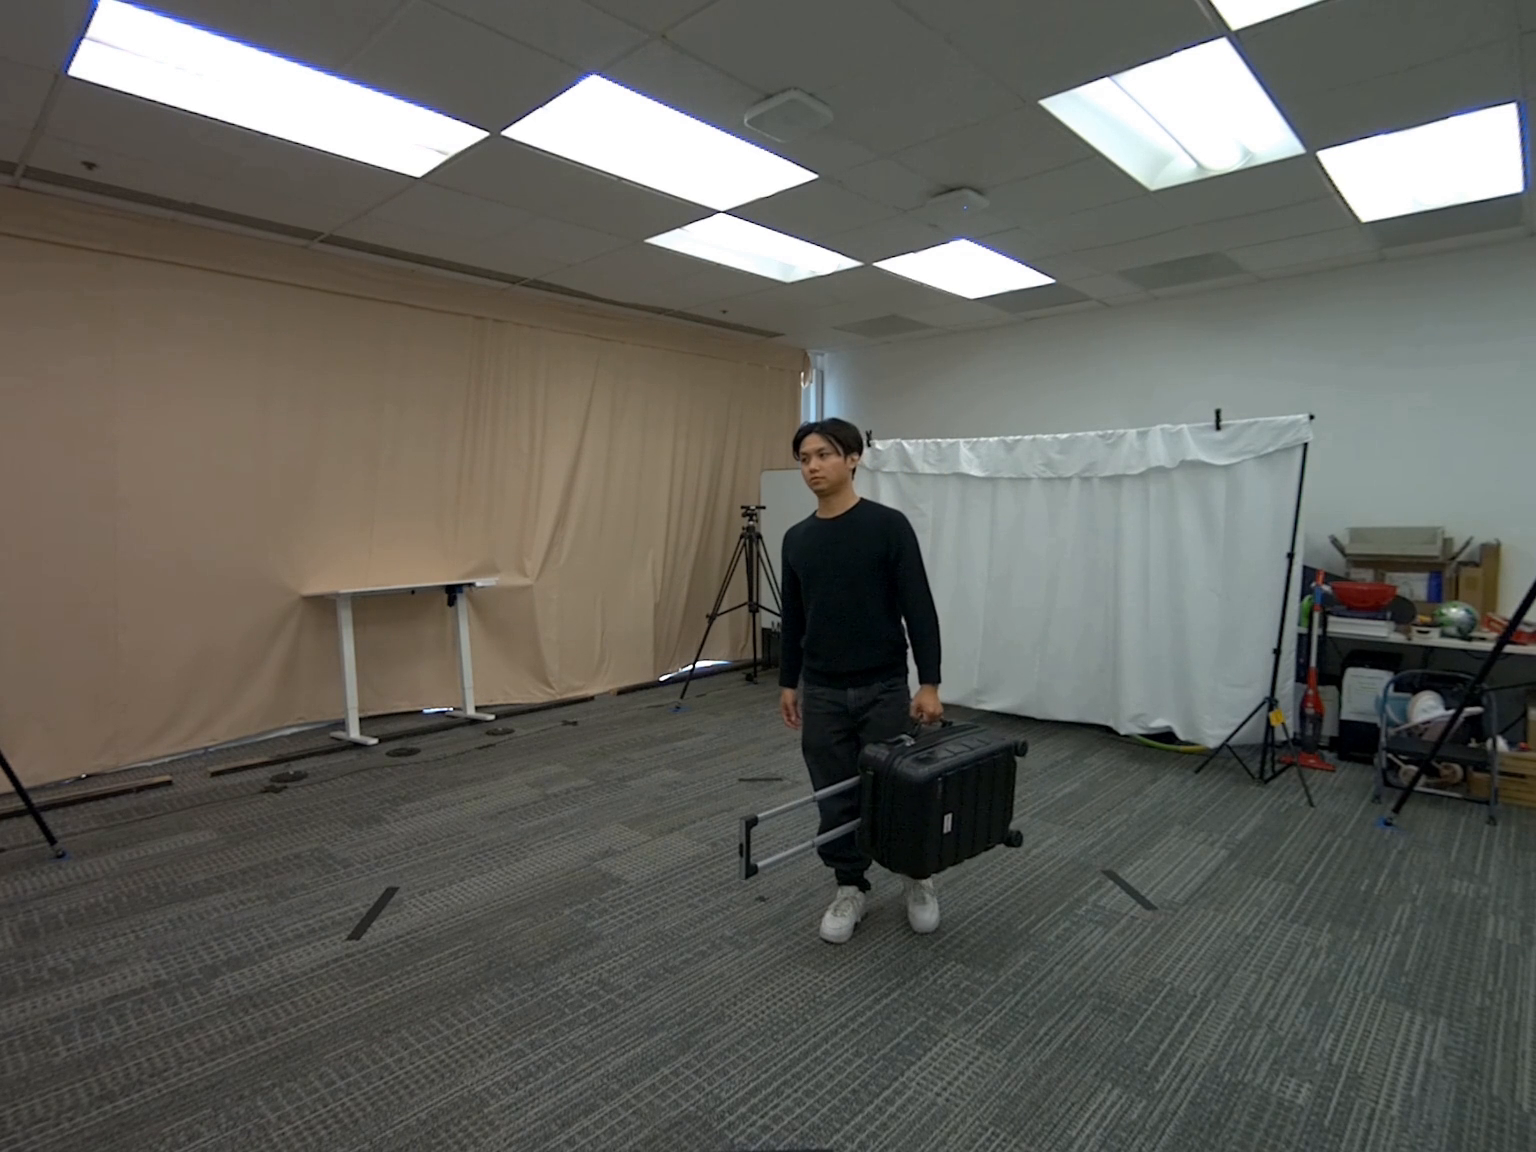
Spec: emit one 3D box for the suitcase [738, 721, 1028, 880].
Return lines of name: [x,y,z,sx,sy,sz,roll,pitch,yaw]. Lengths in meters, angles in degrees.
suitcase: [0.376,0.674,2.394,0.949,0.382,0.266,-5,10,-42]
